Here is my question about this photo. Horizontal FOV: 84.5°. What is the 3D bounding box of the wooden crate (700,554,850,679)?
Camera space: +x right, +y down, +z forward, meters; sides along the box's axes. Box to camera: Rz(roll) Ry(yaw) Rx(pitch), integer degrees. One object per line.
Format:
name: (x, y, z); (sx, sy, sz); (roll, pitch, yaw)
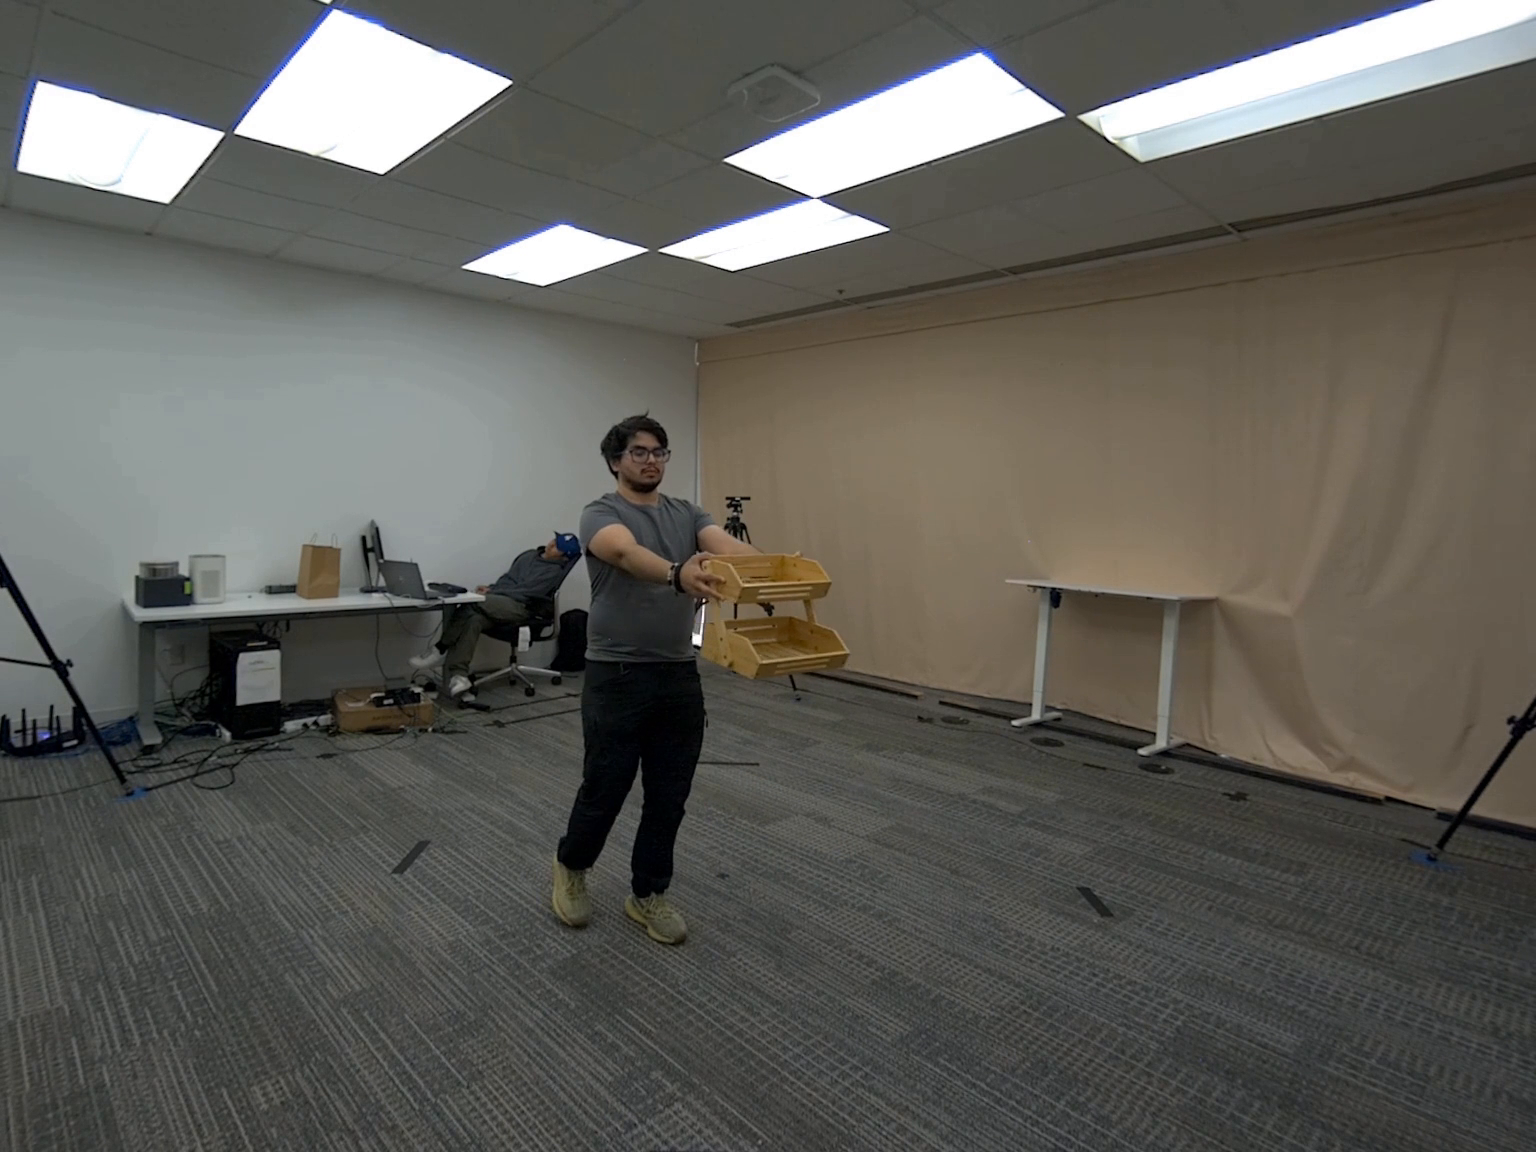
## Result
wooden crate: (0.008, 0.097, 2.204); (0.317, 0.272, 0.310); (-1, 7, -39)
